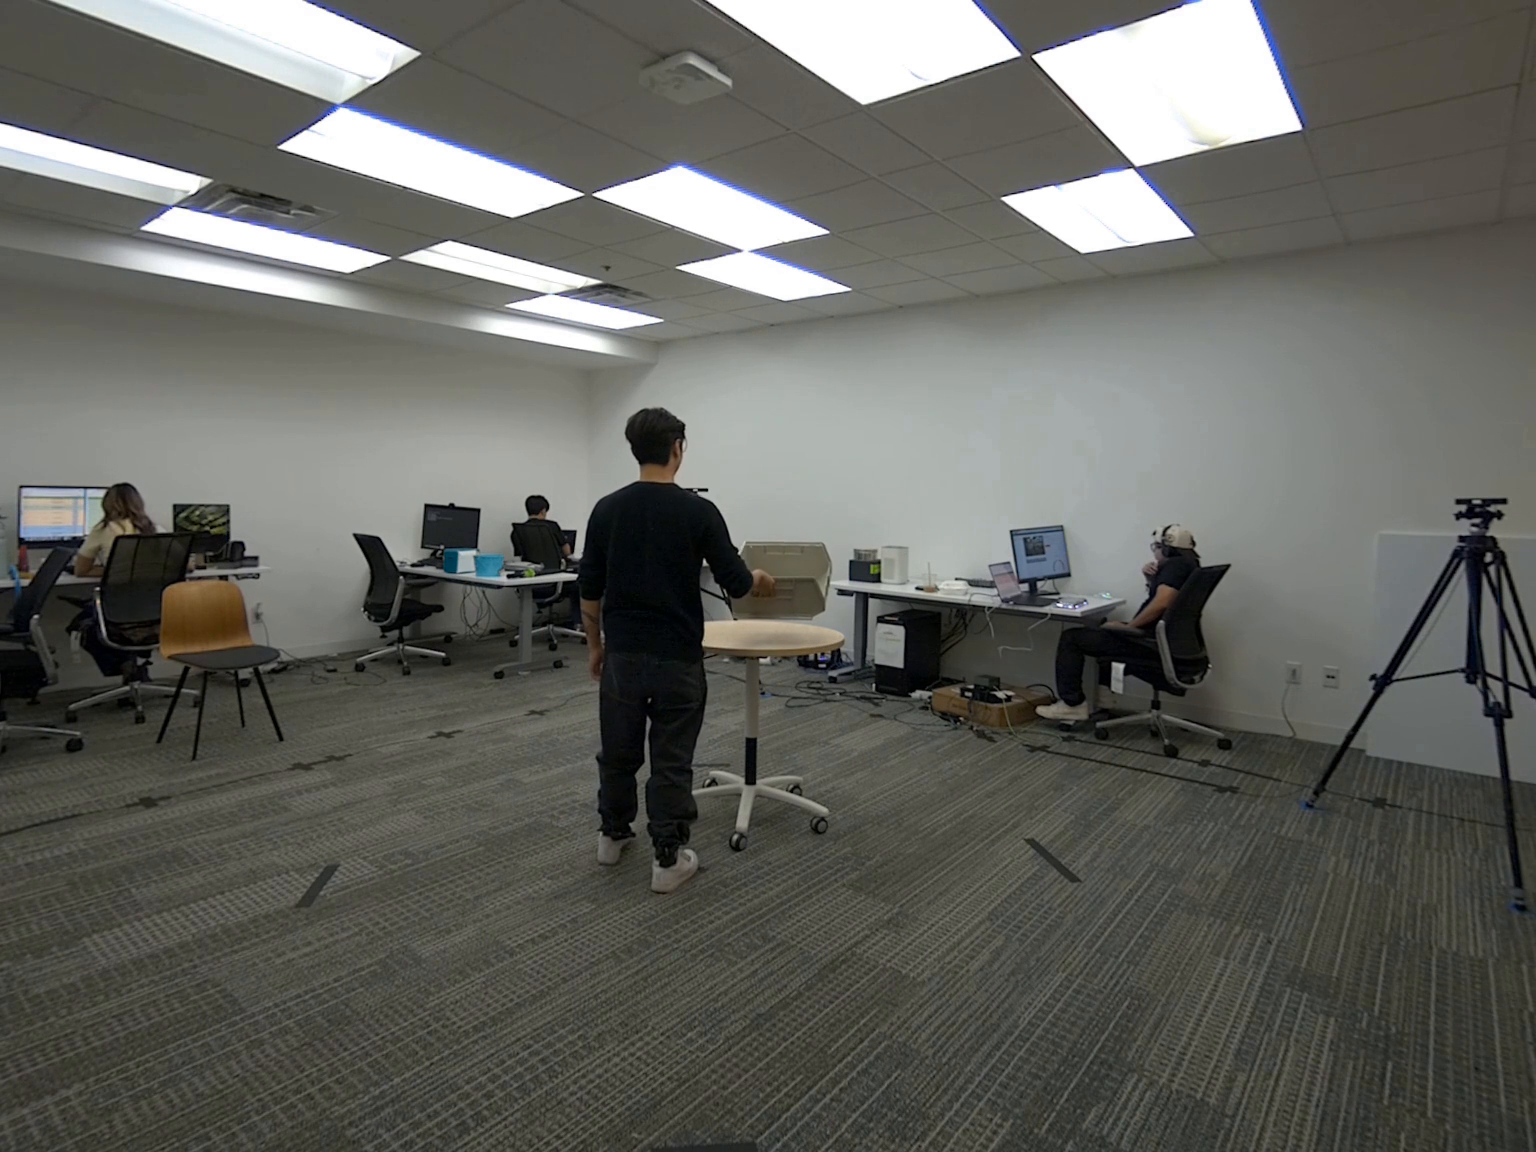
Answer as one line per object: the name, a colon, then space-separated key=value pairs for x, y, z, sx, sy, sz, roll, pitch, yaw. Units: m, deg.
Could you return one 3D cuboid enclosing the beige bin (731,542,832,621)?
beige bin: x=0.056 y=0.010 z=3.468 sx=0.382 sy=0.185 sz=0.425 roll=-1 pitch=21 yaw=11
